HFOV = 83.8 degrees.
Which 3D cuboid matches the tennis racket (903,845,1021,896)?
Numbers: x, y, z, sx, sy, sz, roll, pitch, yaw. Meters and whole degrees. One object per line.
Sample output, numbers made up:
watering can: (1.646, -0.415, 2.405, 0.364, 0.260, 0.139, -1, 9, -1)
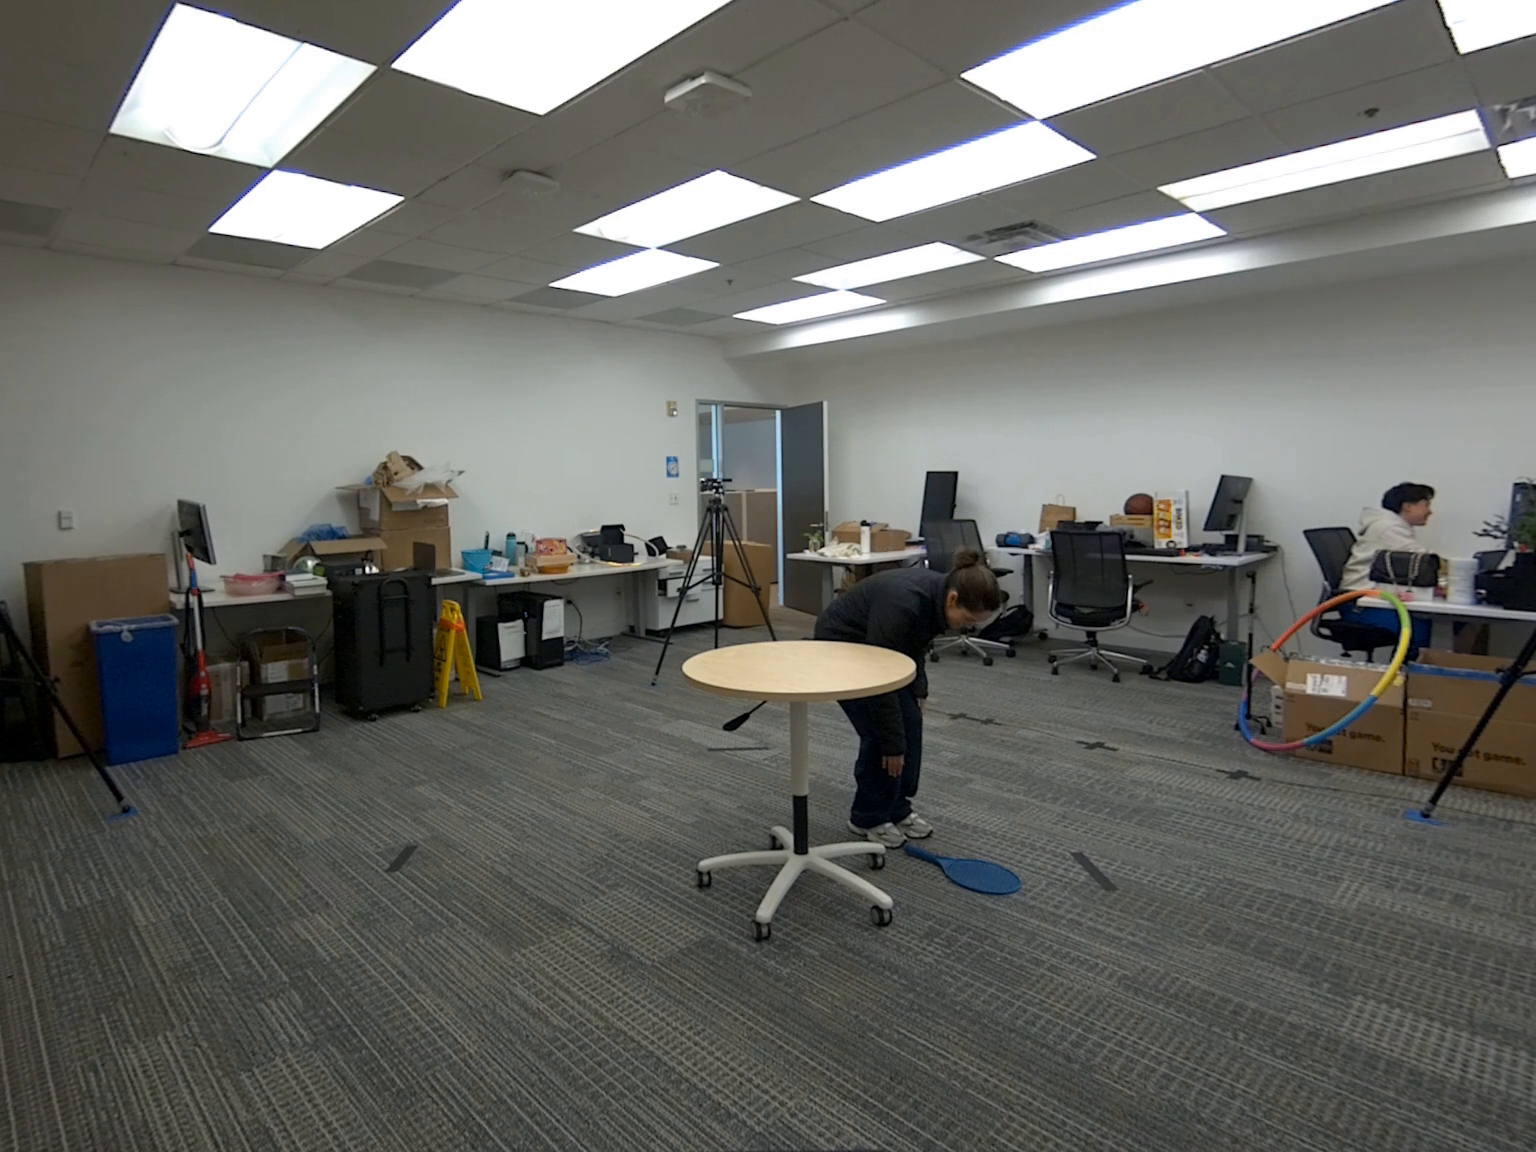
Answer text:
tennis racket: (0.678, 1.026, 3.036, 0.208, 0.031, 0.447, -8, 11, -43)
